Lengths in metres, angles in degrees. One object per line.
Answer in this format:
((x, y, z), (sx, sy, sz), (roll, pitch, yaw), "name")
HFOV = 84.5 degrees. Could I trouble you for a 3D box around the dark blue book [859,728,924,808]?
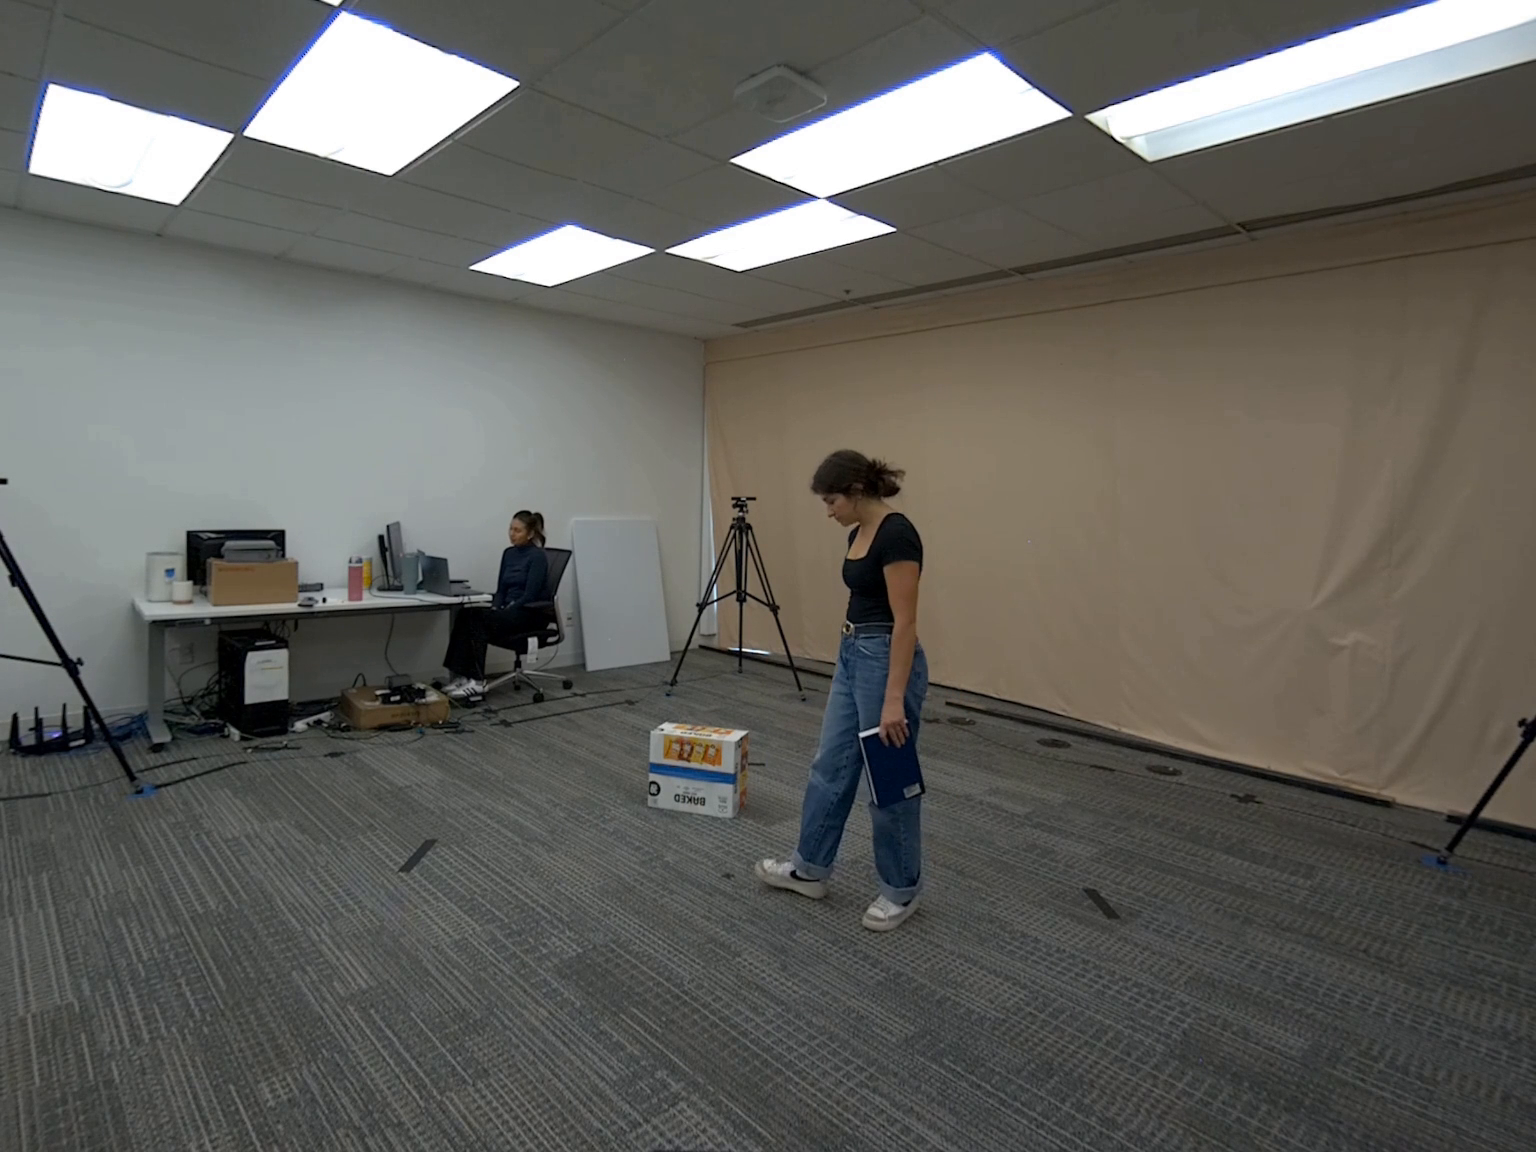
((0.370, 0.579, 2.603), (0.162, 0.243, 0.046), (-15, 10, -8), "dark blue book")
